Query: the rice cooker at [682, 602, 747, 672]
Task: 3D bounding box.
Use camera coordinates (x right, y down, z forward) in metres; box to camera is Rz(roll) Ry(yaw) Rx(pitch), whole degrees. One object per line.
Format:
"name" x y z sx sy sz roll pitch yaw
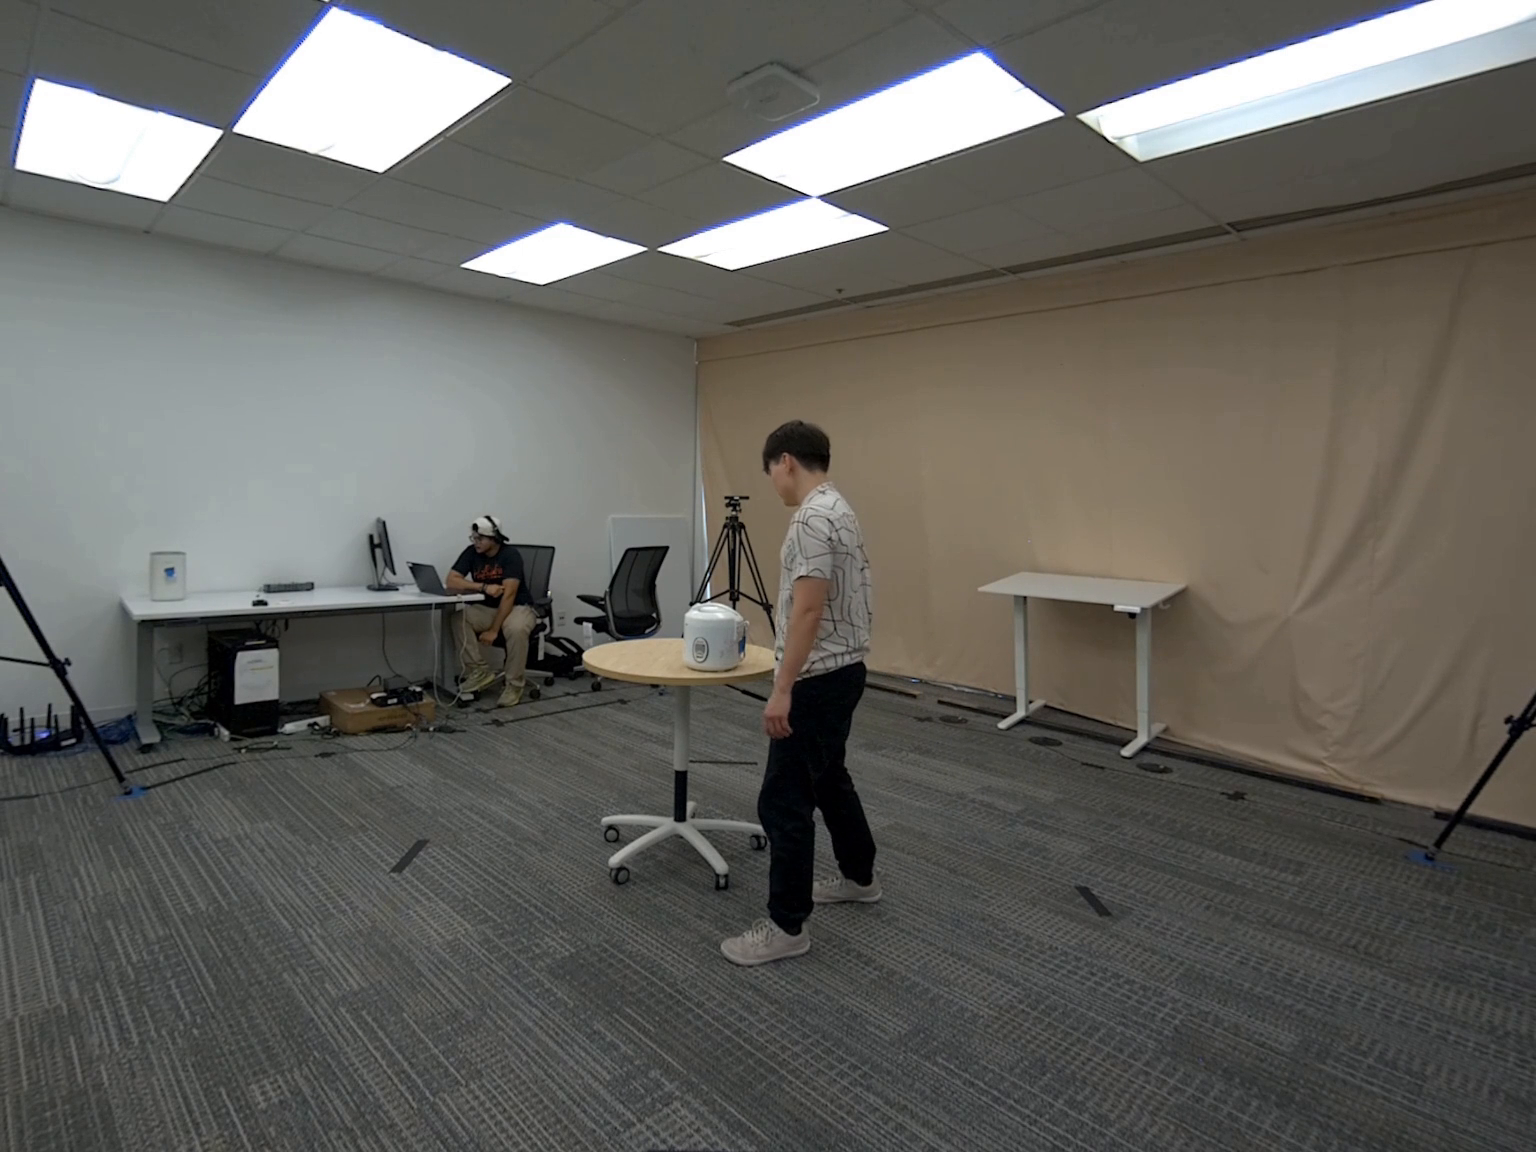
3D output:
"rice cooker" -0.201 0.212 3.015 0.224 0.232 0.214 3 3 20
